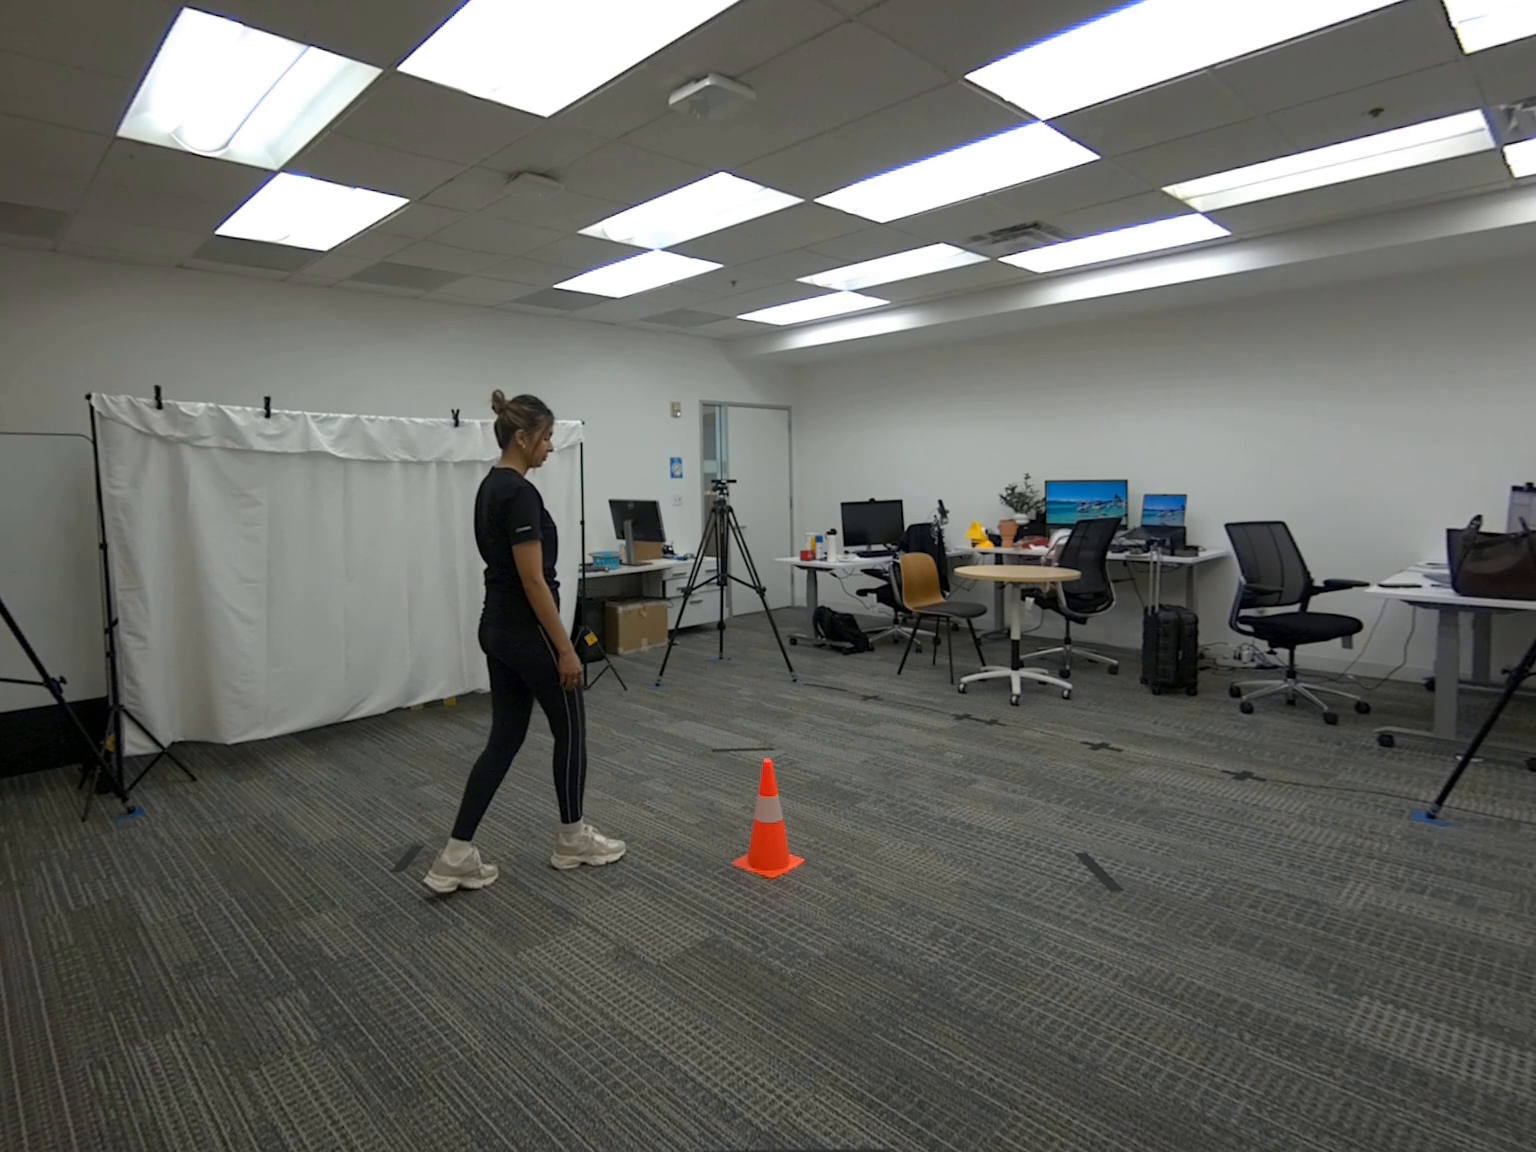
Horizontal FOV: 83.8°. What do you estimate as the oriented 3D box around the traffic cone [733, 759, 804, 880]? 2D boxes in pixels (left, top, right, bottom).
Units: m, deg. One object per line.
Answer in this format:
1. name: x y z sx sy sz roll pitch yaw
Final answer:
1. traffic cone: 0.004 0.864 3.105 0.211 0.382 0.198 4 7 36
